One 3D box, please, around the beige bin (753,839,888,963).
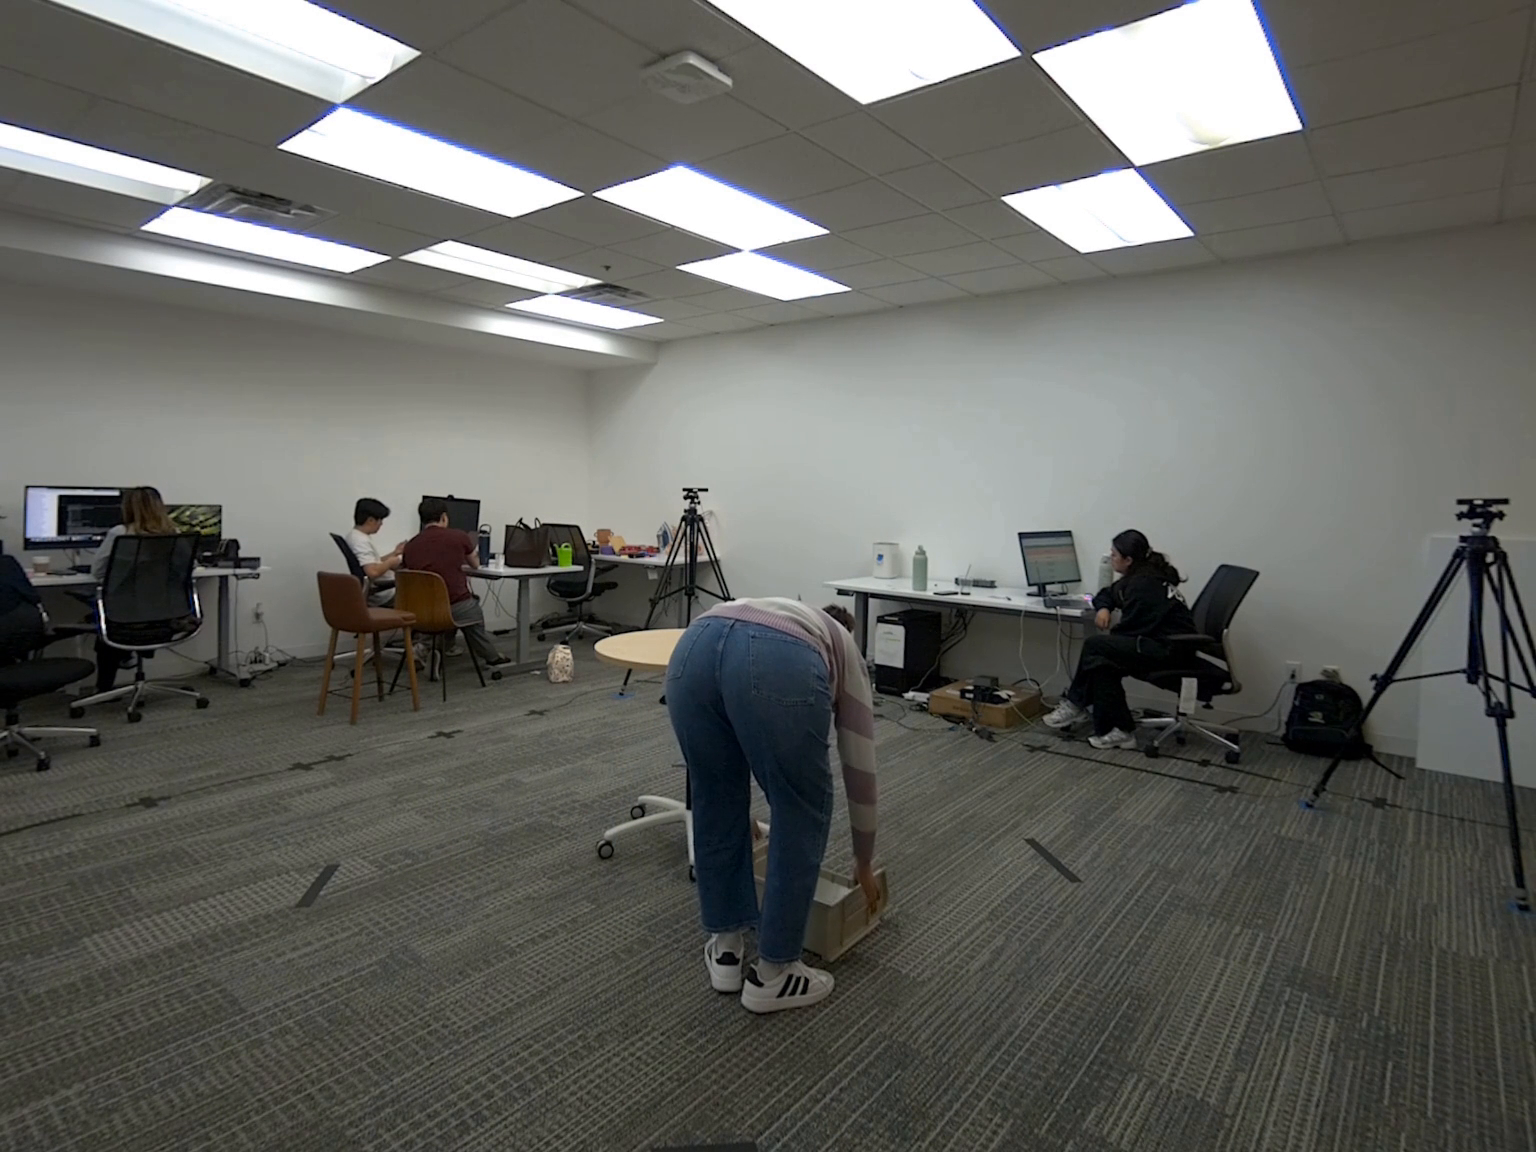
[{"bbox_3d":[0.112,1.021,2.762,0.436,0.188,0.367,6,7,37],"label":"beige bin"}]
